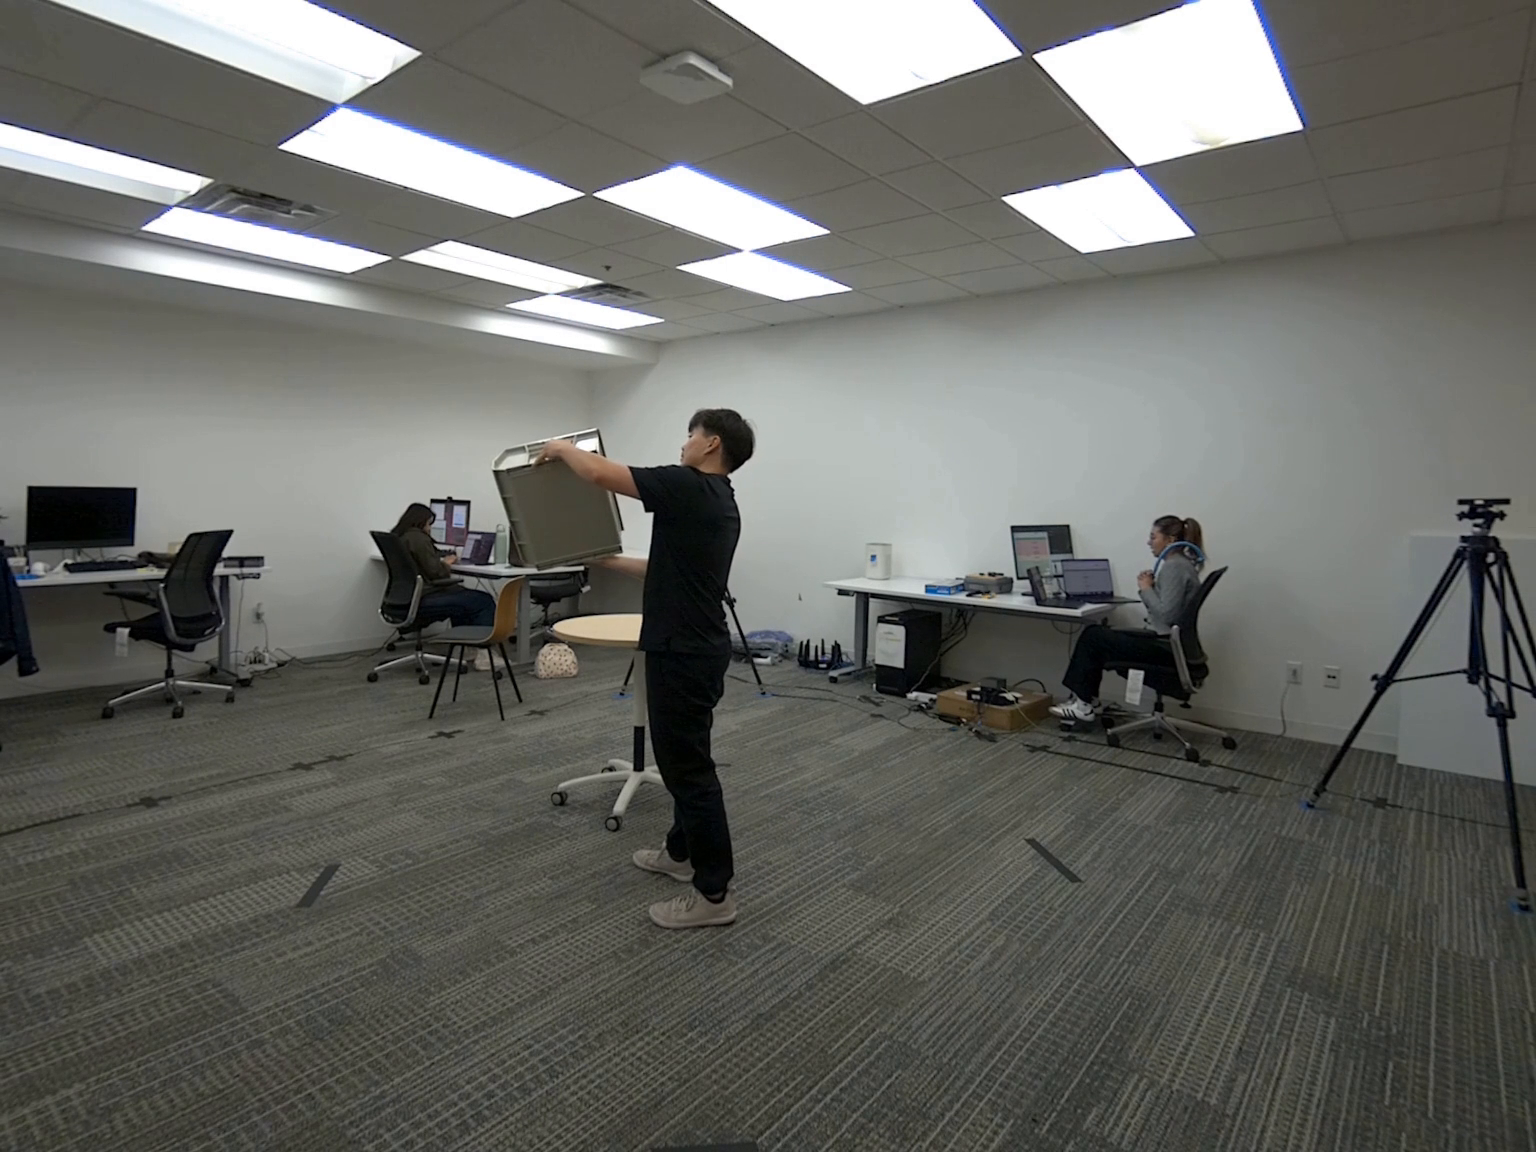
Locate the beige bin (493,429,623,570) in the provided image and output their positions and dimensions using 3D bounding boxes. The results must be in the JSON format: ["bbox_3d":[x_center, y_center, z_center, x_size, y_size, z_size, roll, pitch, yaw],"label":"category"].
[{"bbox_3d":[-0.755,-0.267,3.035,0.377,0.410,0.195,-11,30,-2],"label":"beige bin"}]
